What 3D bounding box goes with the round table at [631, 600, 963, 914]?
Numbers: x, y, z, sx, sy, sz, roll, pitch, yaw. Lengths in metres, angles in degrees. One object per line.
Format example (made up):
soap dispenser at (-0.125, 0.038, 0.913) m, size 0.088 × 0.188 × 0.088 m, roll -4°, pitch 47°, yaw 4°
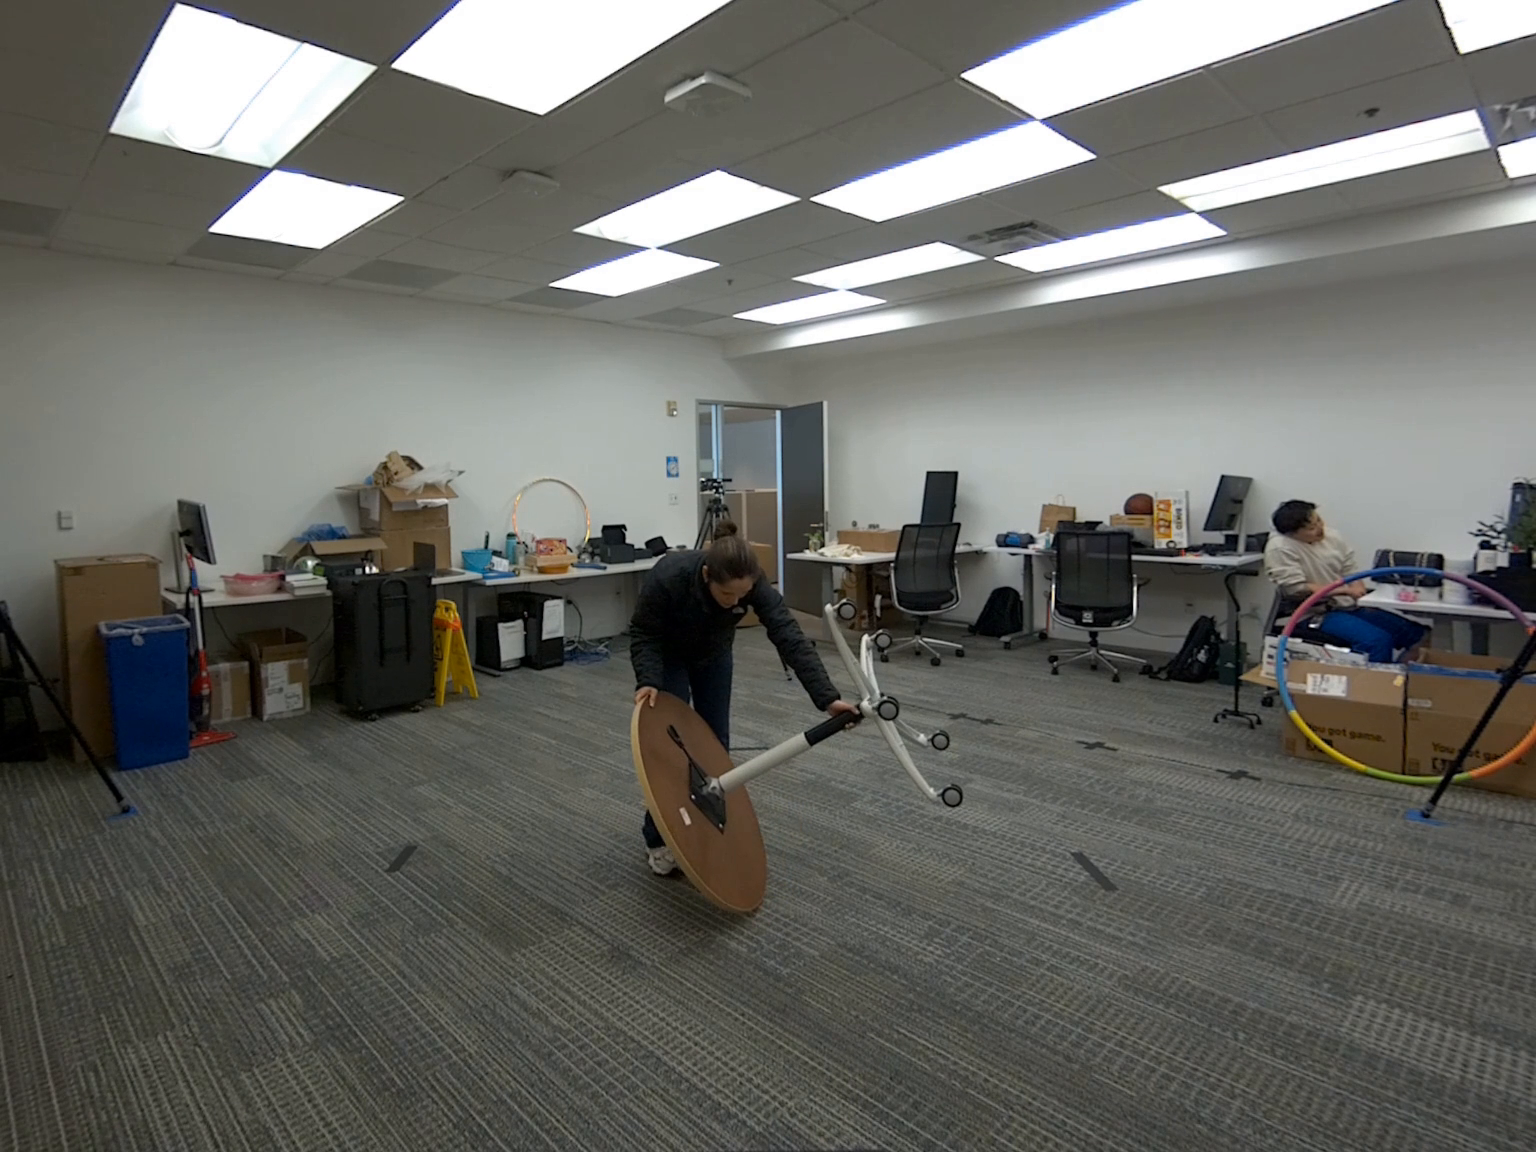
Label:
round table at (0.089, 0.542, 2.789) m, size 0.789 × 0.788 × 0.780 m, roll -31°, pitch -1°, yaw 11°
